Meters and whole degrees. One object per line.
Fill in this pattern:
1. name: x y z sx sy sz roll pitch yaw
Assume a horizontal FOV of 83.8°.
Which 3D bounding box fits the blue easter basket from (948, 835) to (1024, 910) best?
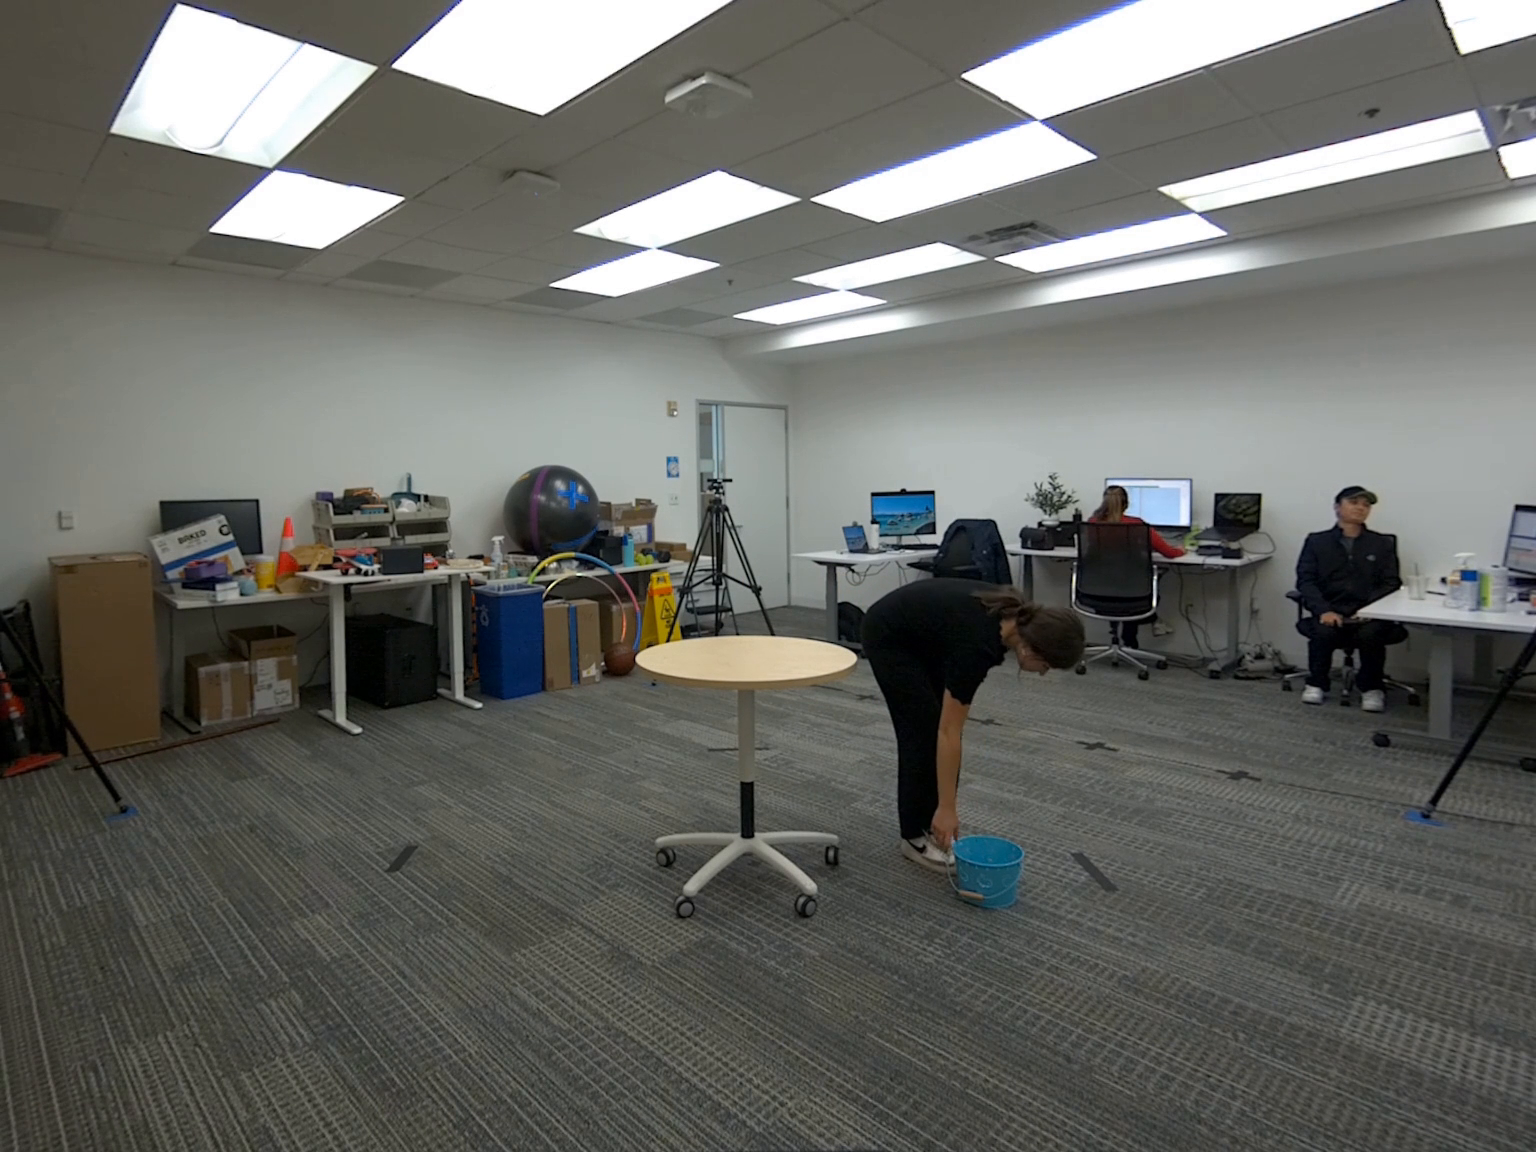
1. blue easter basket: 0.724 0.984 2.849 0.243 0.155 0.245 -1 5 -2
